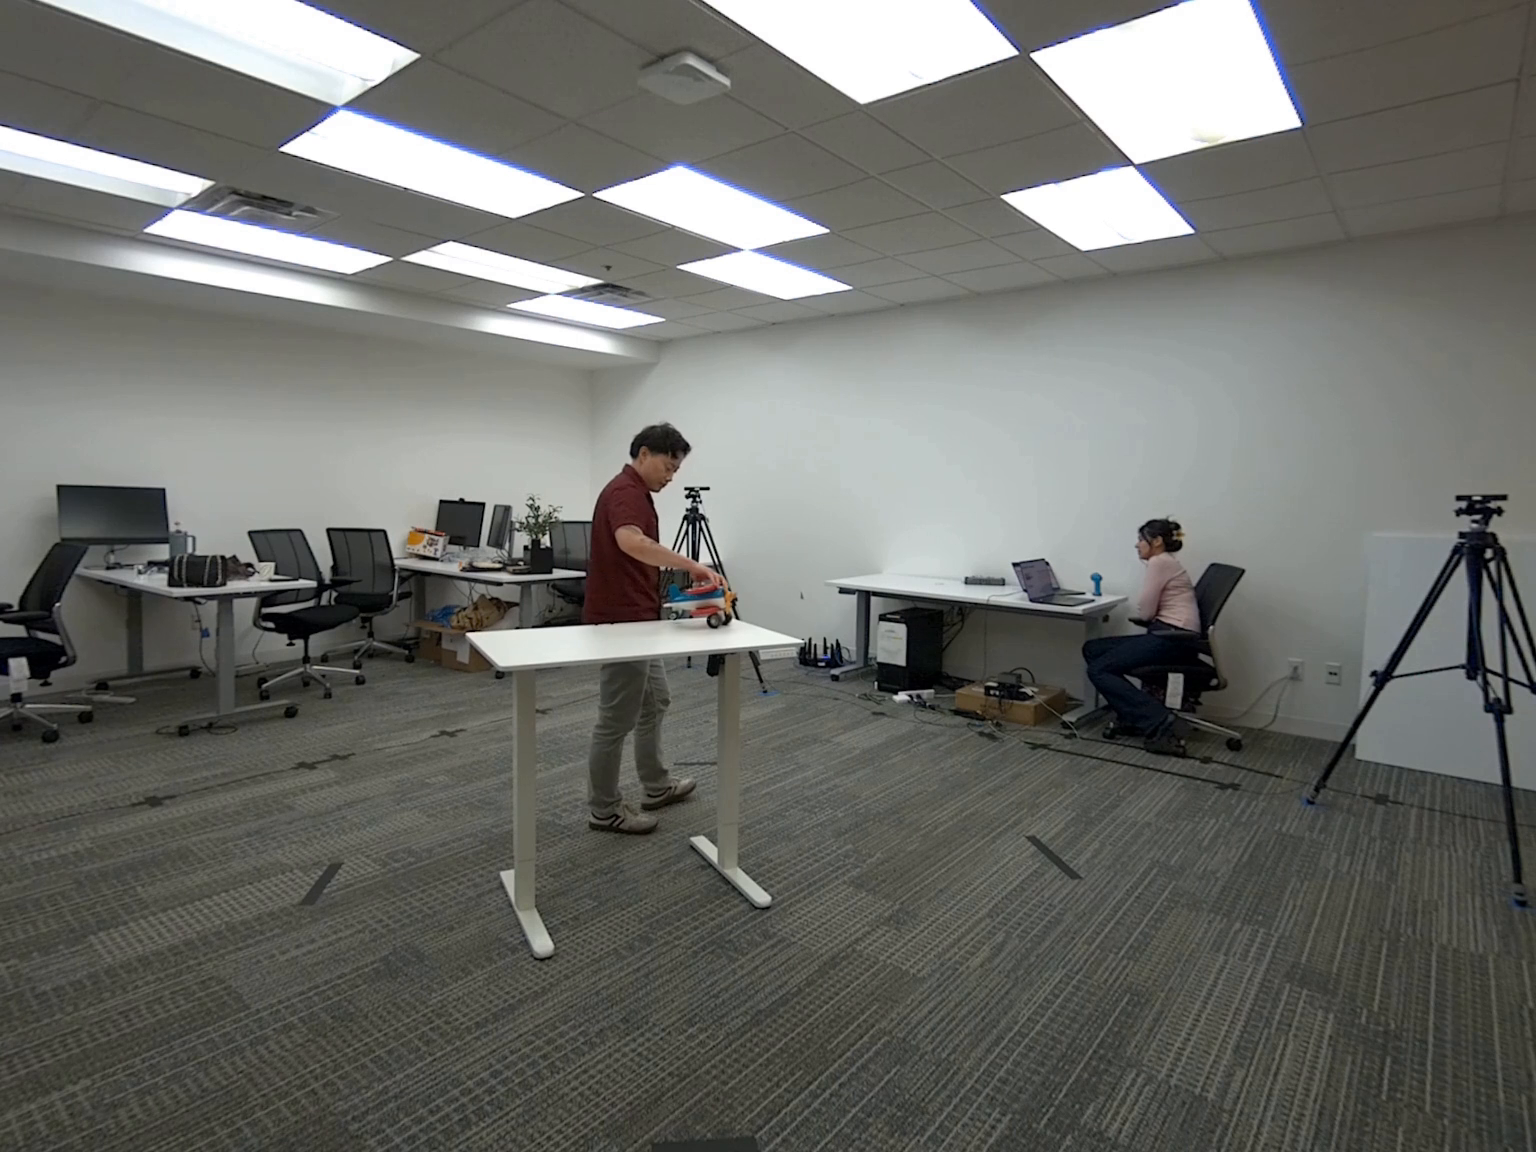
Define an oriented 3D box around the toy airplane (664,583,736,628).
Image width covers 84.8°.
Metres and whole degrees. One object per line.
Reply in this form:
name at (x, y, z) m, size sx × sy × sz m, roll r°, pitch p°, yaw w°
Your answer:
toy airplane at (-0.267, 0.097, 3.125) m, size 0.258 × 0.155 × 0.254 m, roll 5°, pitch 7°, yaw -6°
